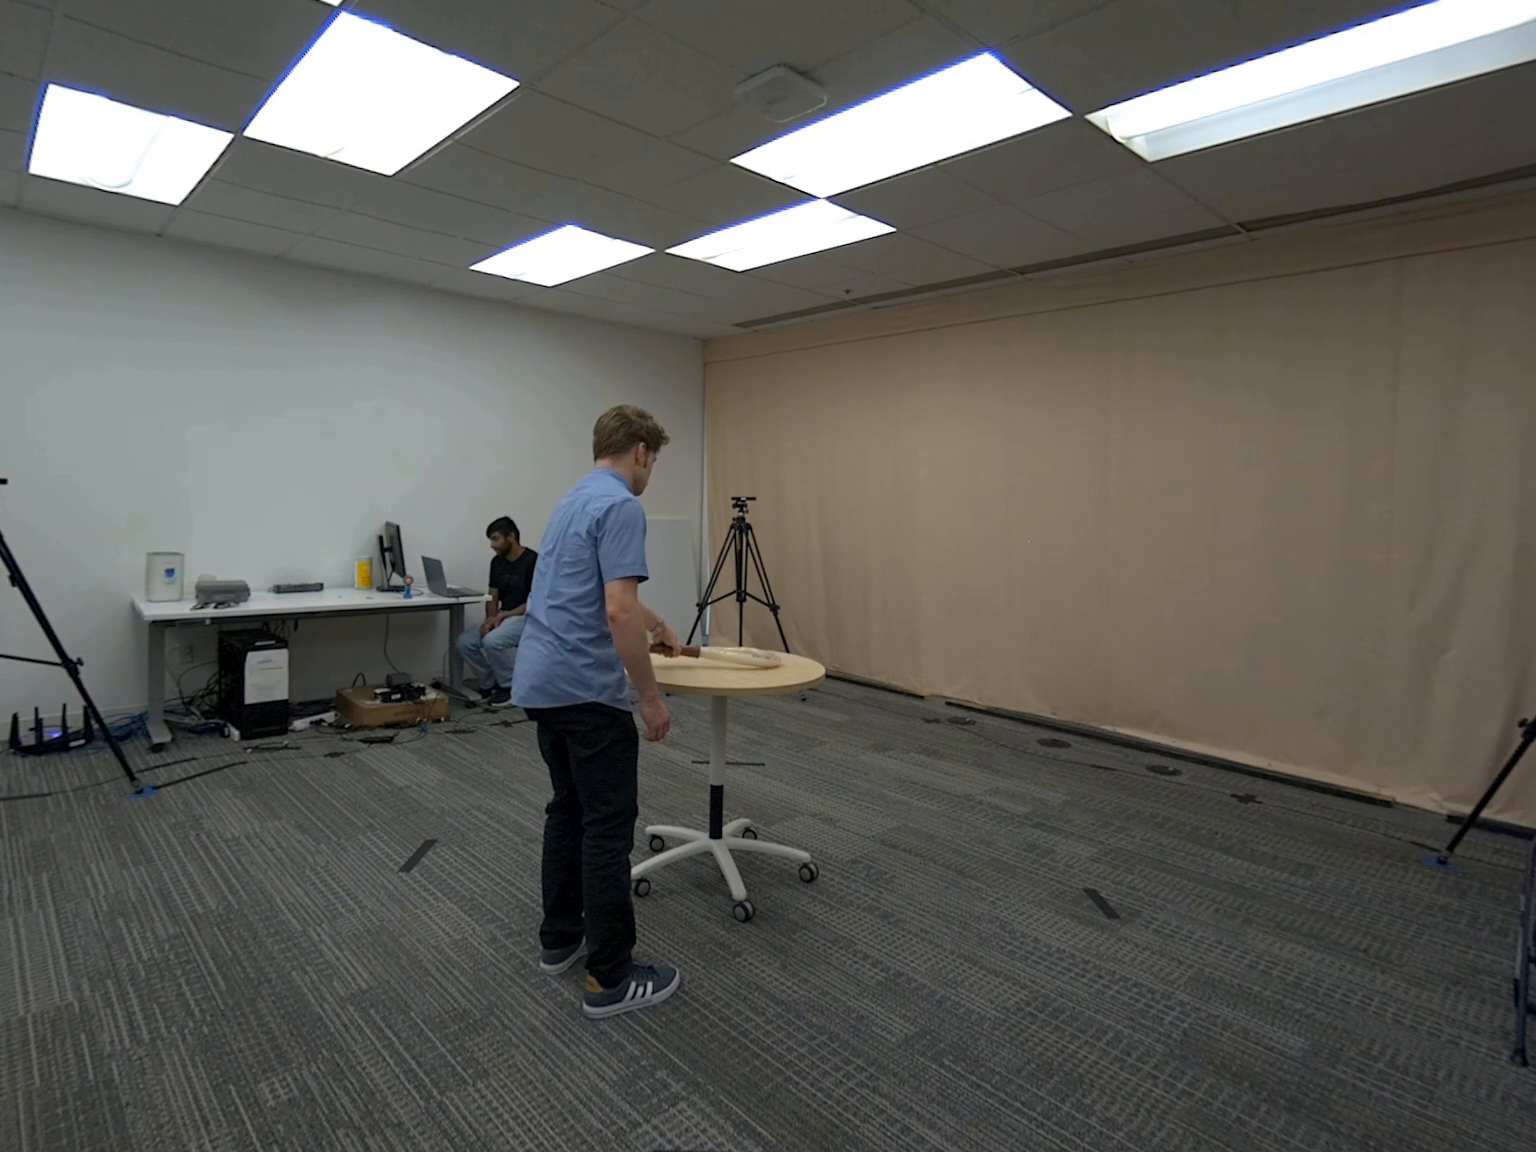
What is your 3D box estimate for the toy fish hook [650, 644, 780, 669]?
[{"bbox_3d":[-0.213,0.285,3.073,0.503,0.048,0.226,8,0,-8],"label":"toy fish hook"}]
